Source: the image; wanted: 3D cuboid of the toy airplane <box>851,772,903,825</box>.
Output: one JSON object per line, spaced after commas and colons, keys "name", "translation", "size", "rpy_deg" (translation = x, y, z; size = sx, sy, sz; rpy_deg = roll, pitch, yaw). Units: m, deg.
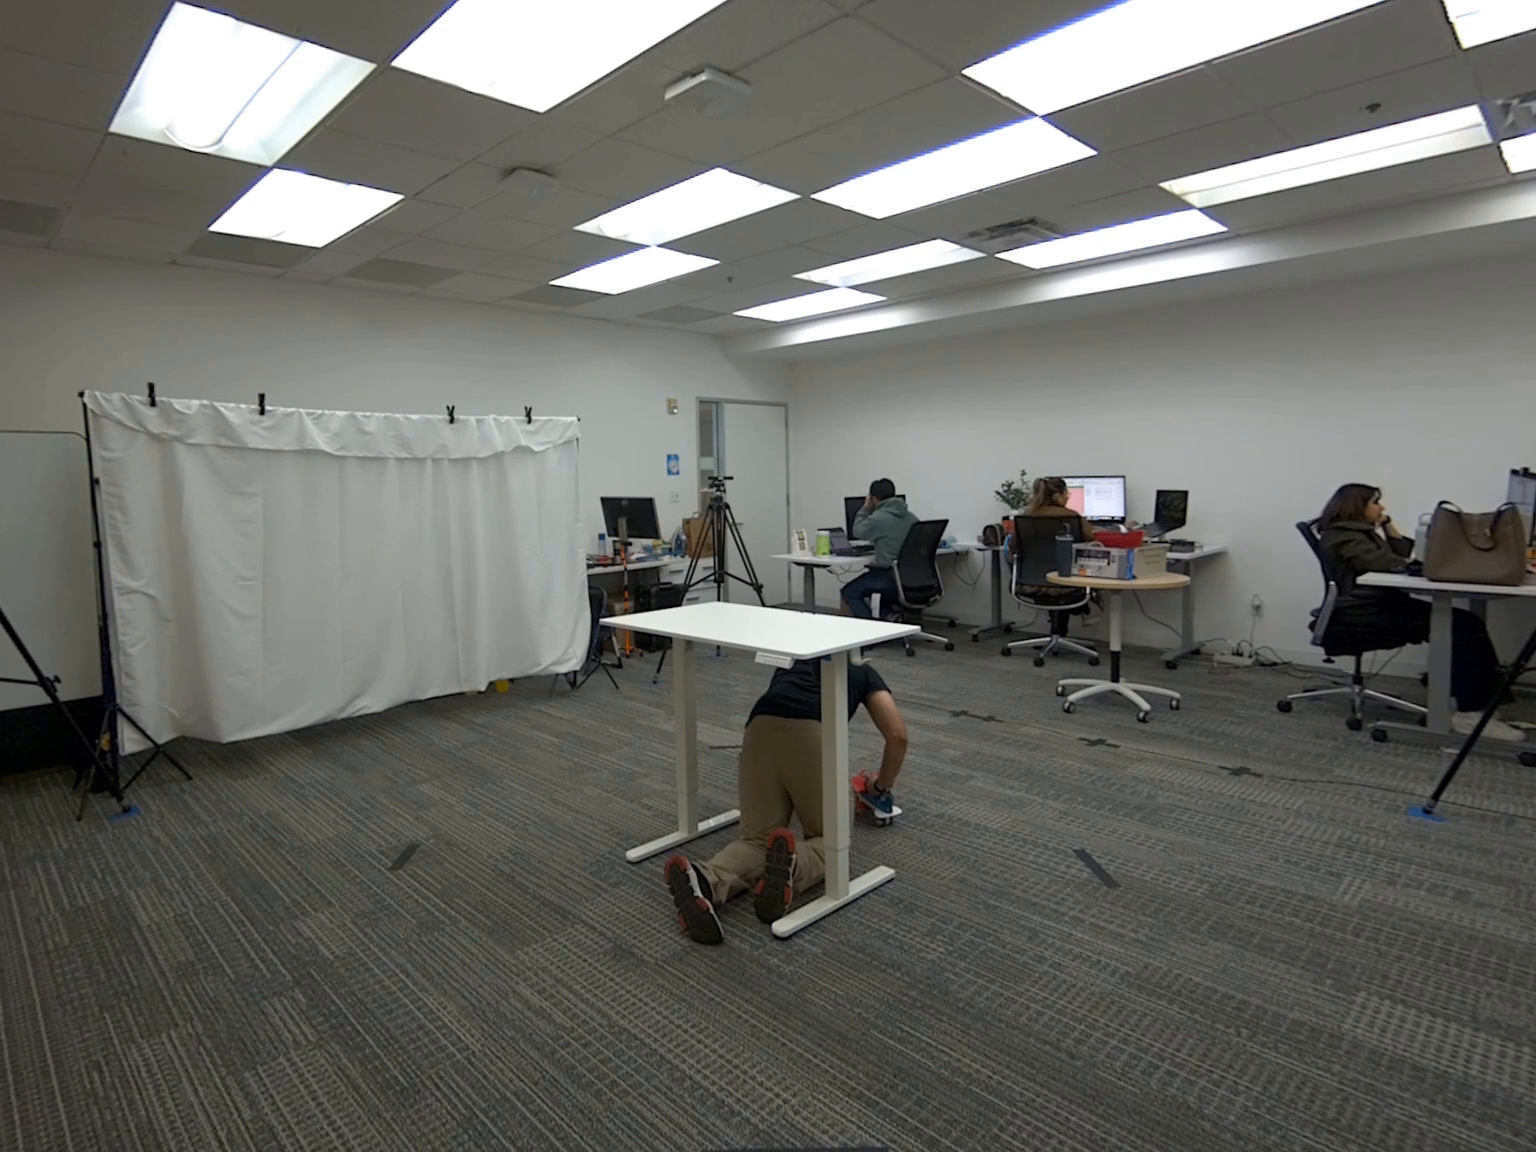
{"name": "toy airplane", "translation": [0.438, 0.911, 3.492], "size": [0.266, 0.156, 0.245], "rpy_deg": [3, 5, 33]}
